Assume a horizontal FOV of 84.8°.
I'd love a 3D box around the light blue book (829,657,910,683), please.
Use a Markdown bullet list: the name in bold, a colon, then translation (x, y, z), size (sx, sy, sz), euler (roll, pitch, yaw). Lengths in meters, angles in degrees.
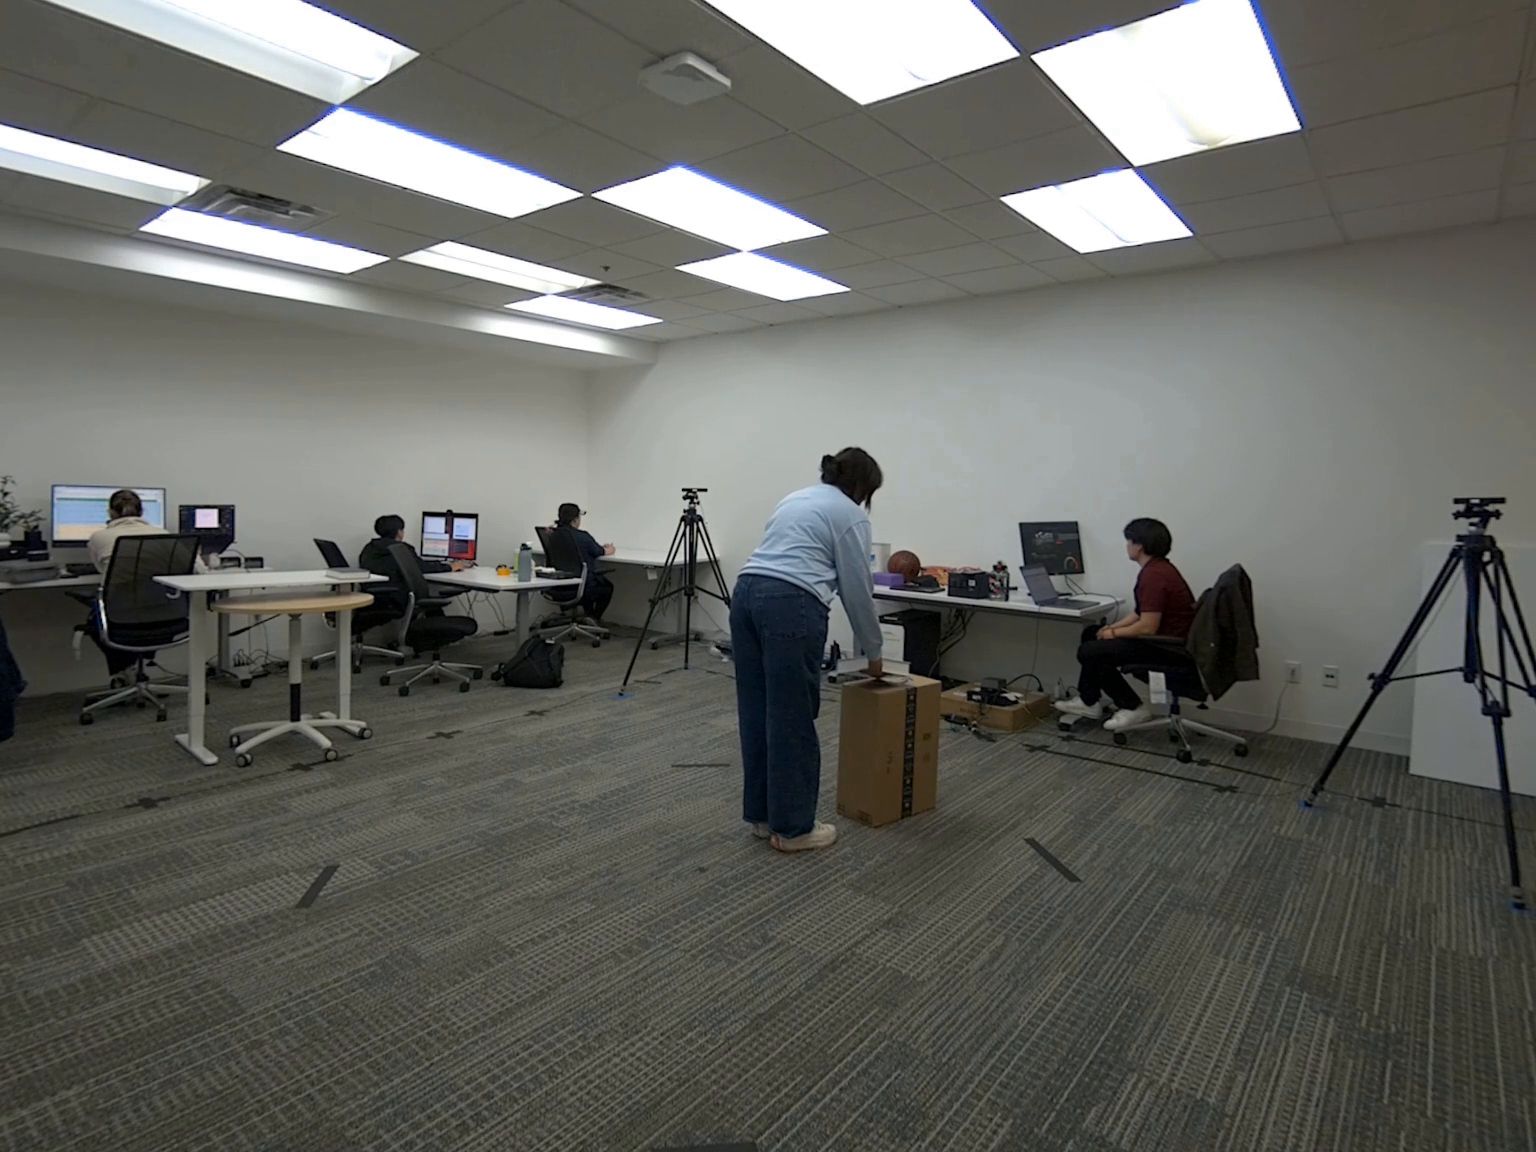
- **light blue book**: translation (0.447, 0.390, 3.653), size (0.252, 0.060, 0.196), euler (13, -17, -36)
